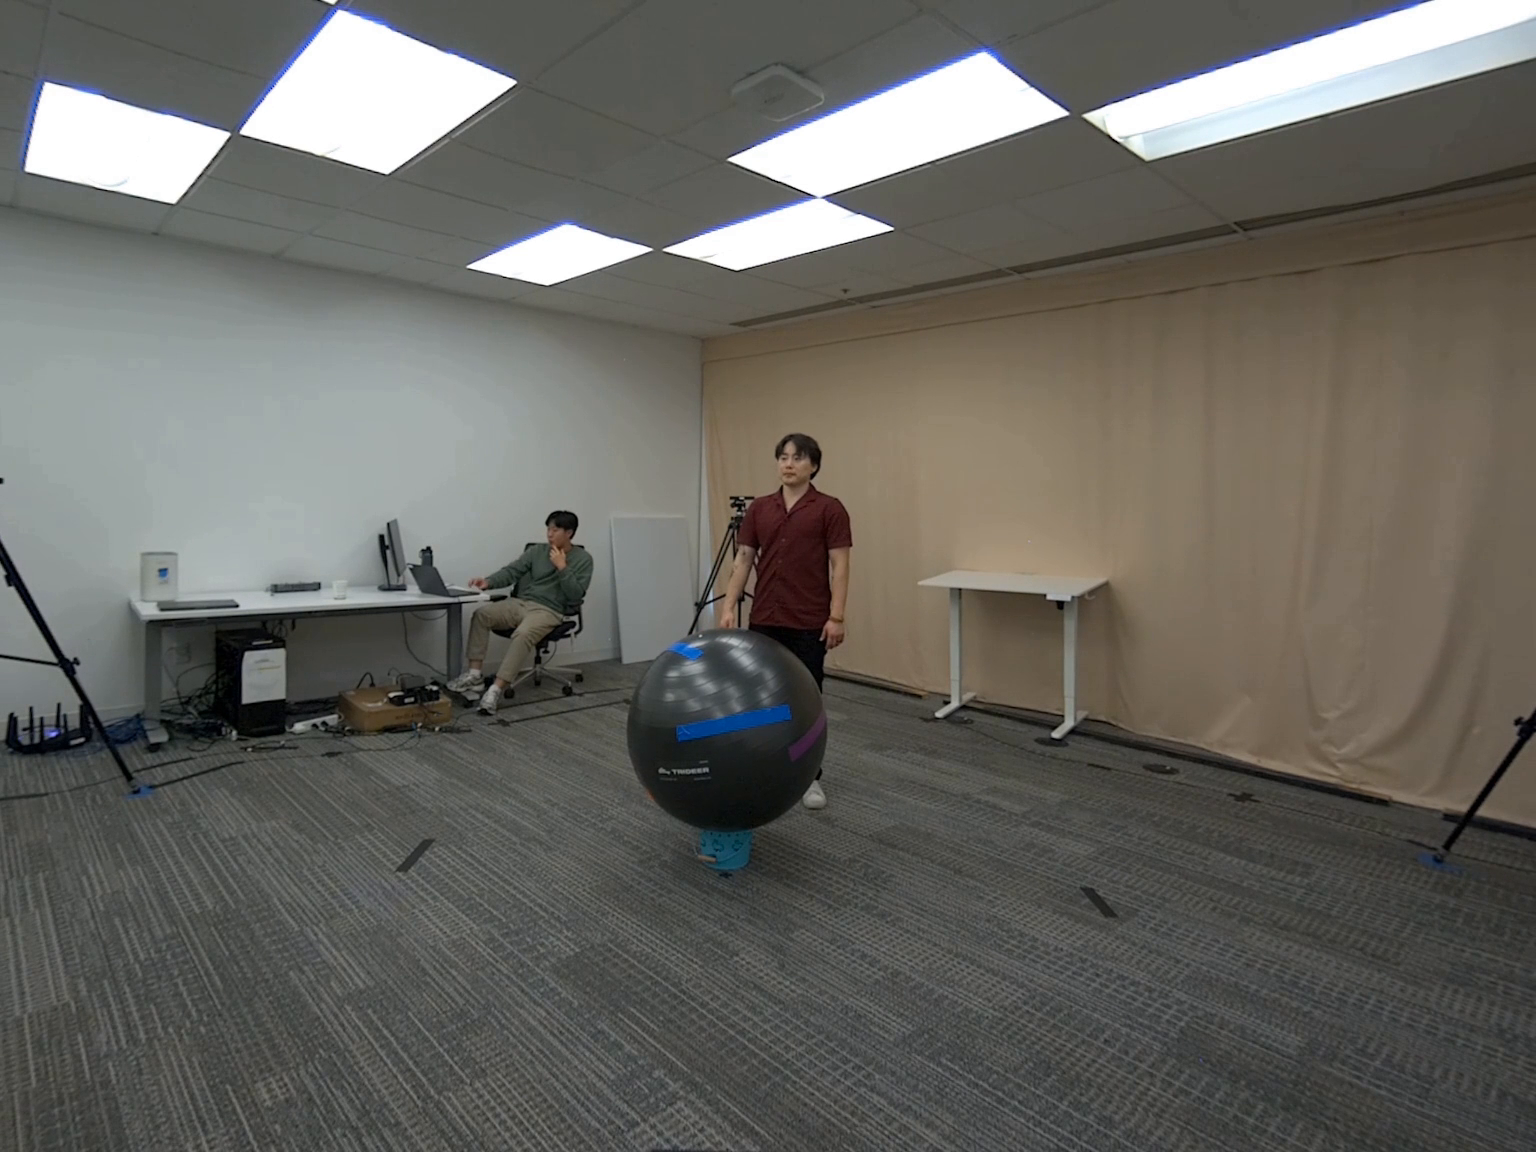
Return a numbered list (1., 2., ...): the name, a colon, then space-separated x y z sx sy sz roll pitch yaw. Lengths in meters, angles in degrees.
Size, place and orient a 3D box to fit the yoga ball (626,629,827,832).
1. yoga ball: -0.169 0.589 3.202 0.757 0.756 0.761 1 4 -1
